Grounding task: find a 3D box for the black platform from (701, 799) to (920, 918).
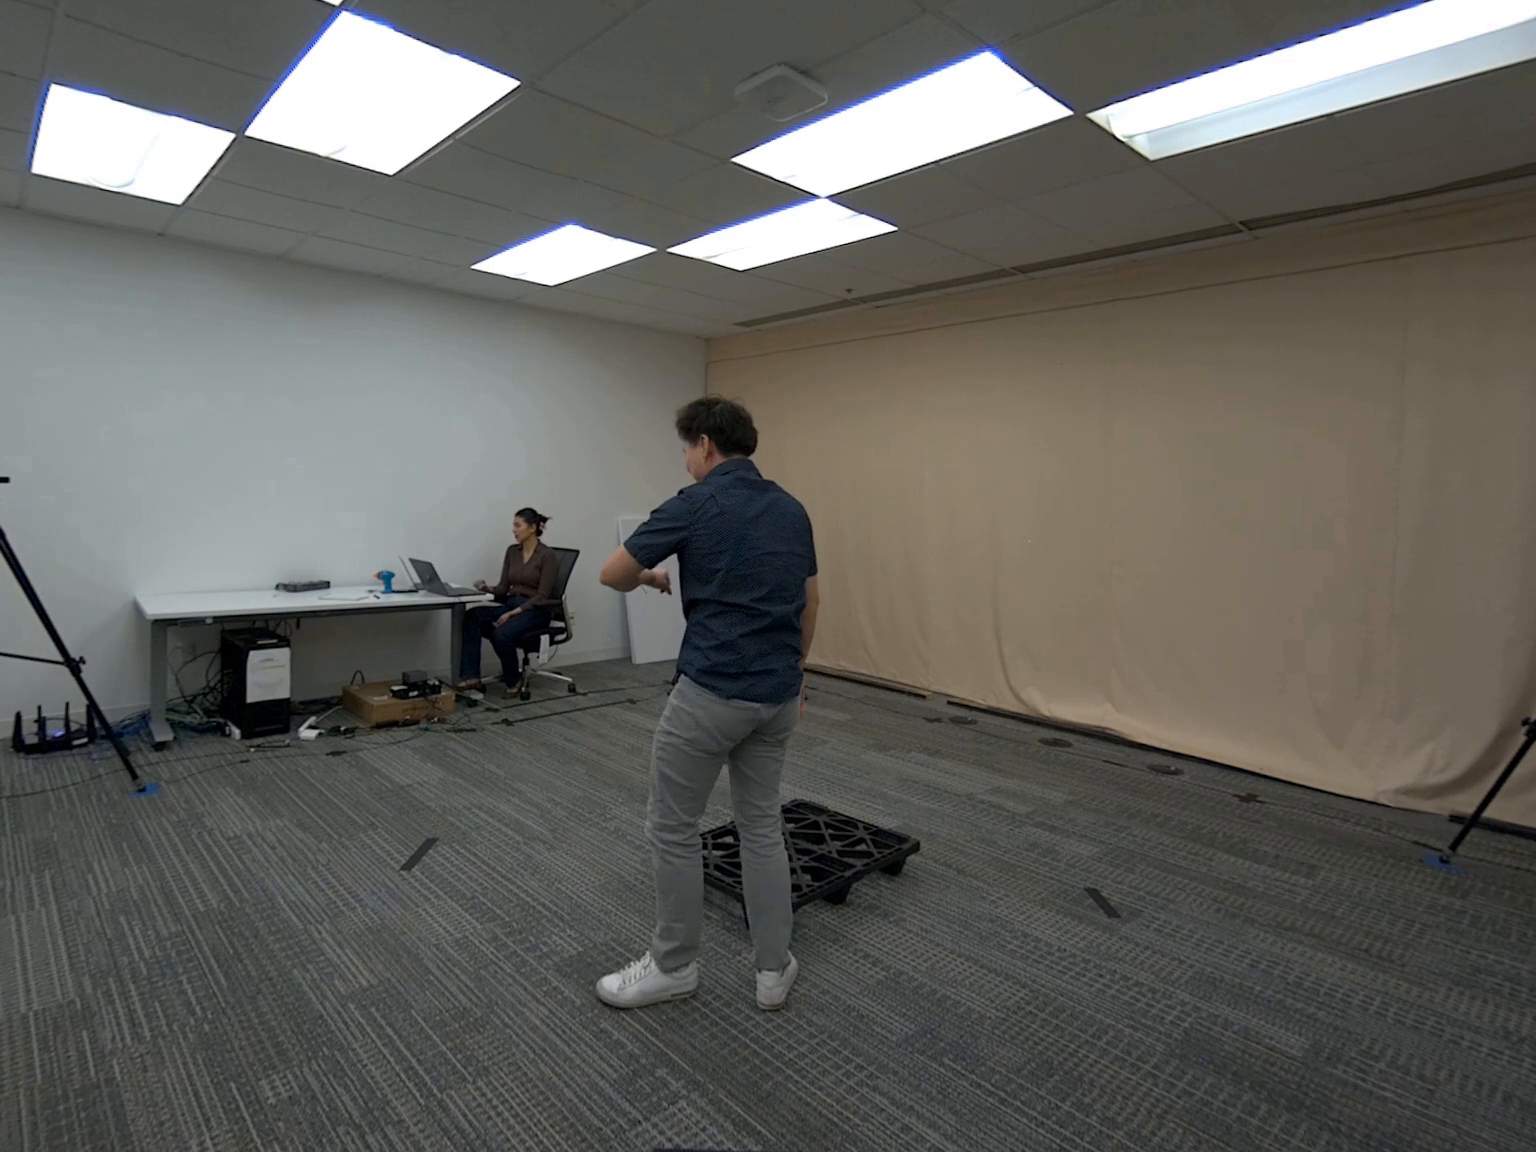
[{"bbox_3d":[0.081,1.044,3.064,0.621,0.143,0.787,7,8,44],"label":"black platform"}]
